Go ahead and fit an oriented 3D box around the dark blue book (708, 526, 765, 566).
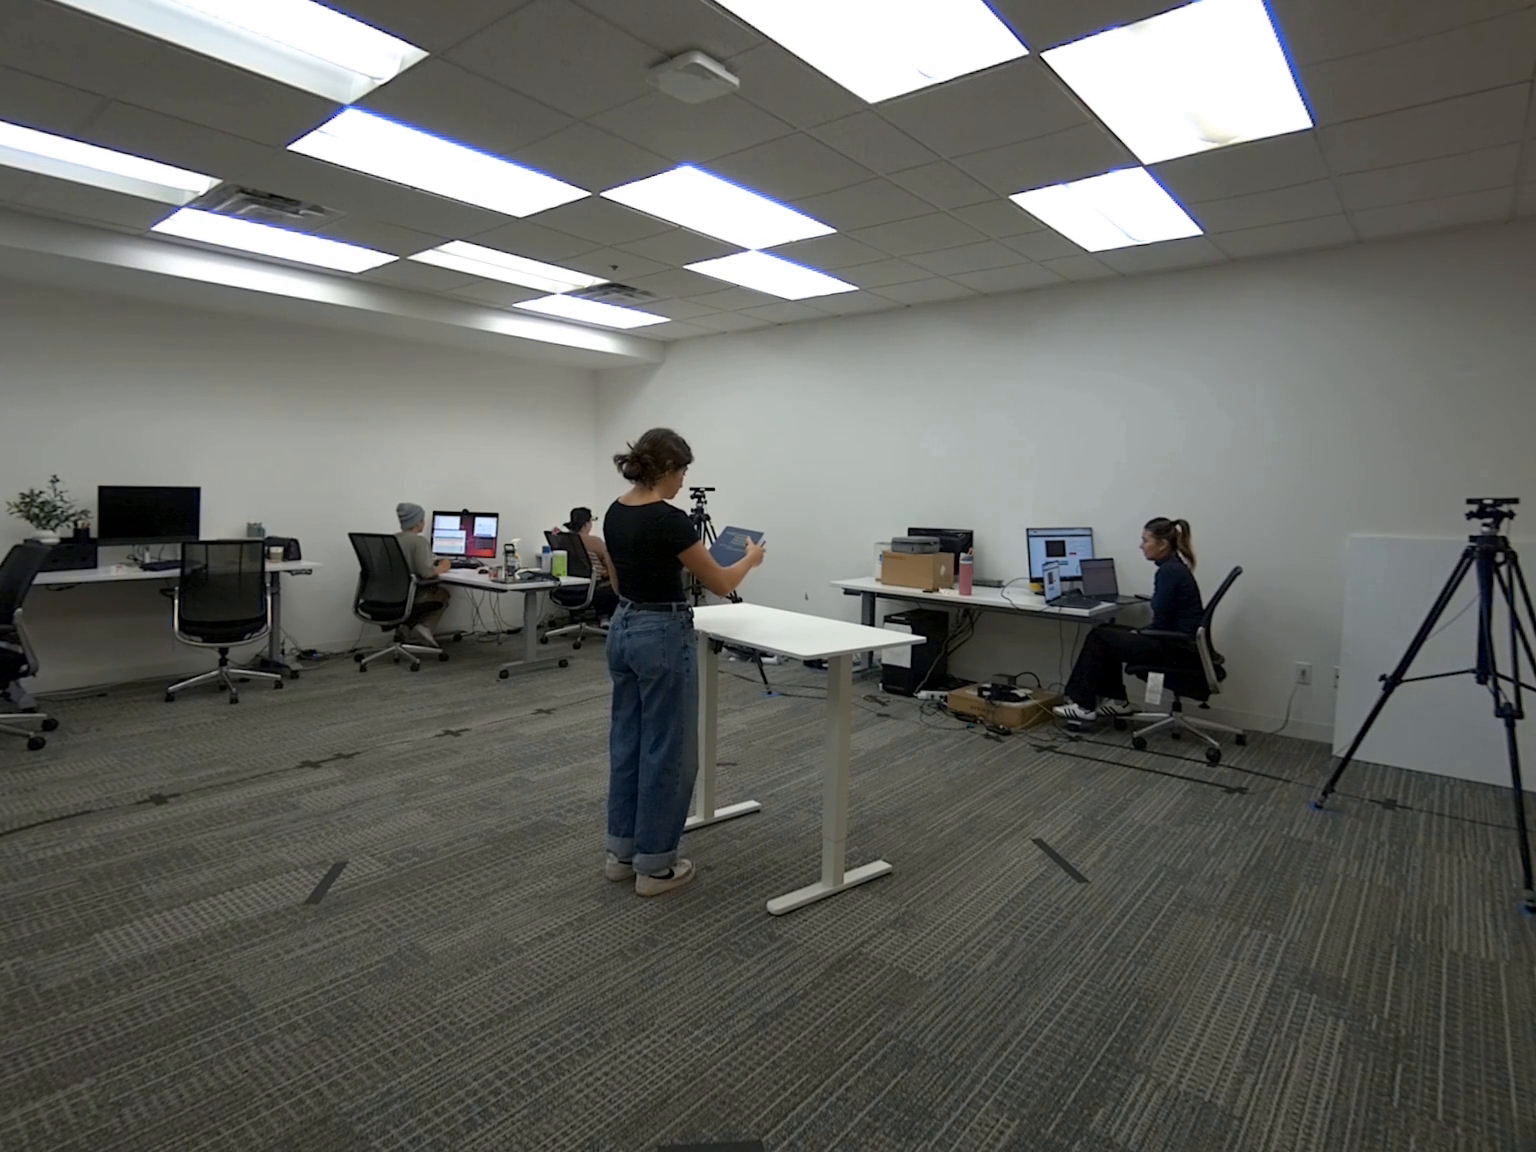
[{"bbox_3d":[-0.141,-0.079,3.085,0.168,0.043,0.246,10,45,26],"label":"dark blue book"}]
